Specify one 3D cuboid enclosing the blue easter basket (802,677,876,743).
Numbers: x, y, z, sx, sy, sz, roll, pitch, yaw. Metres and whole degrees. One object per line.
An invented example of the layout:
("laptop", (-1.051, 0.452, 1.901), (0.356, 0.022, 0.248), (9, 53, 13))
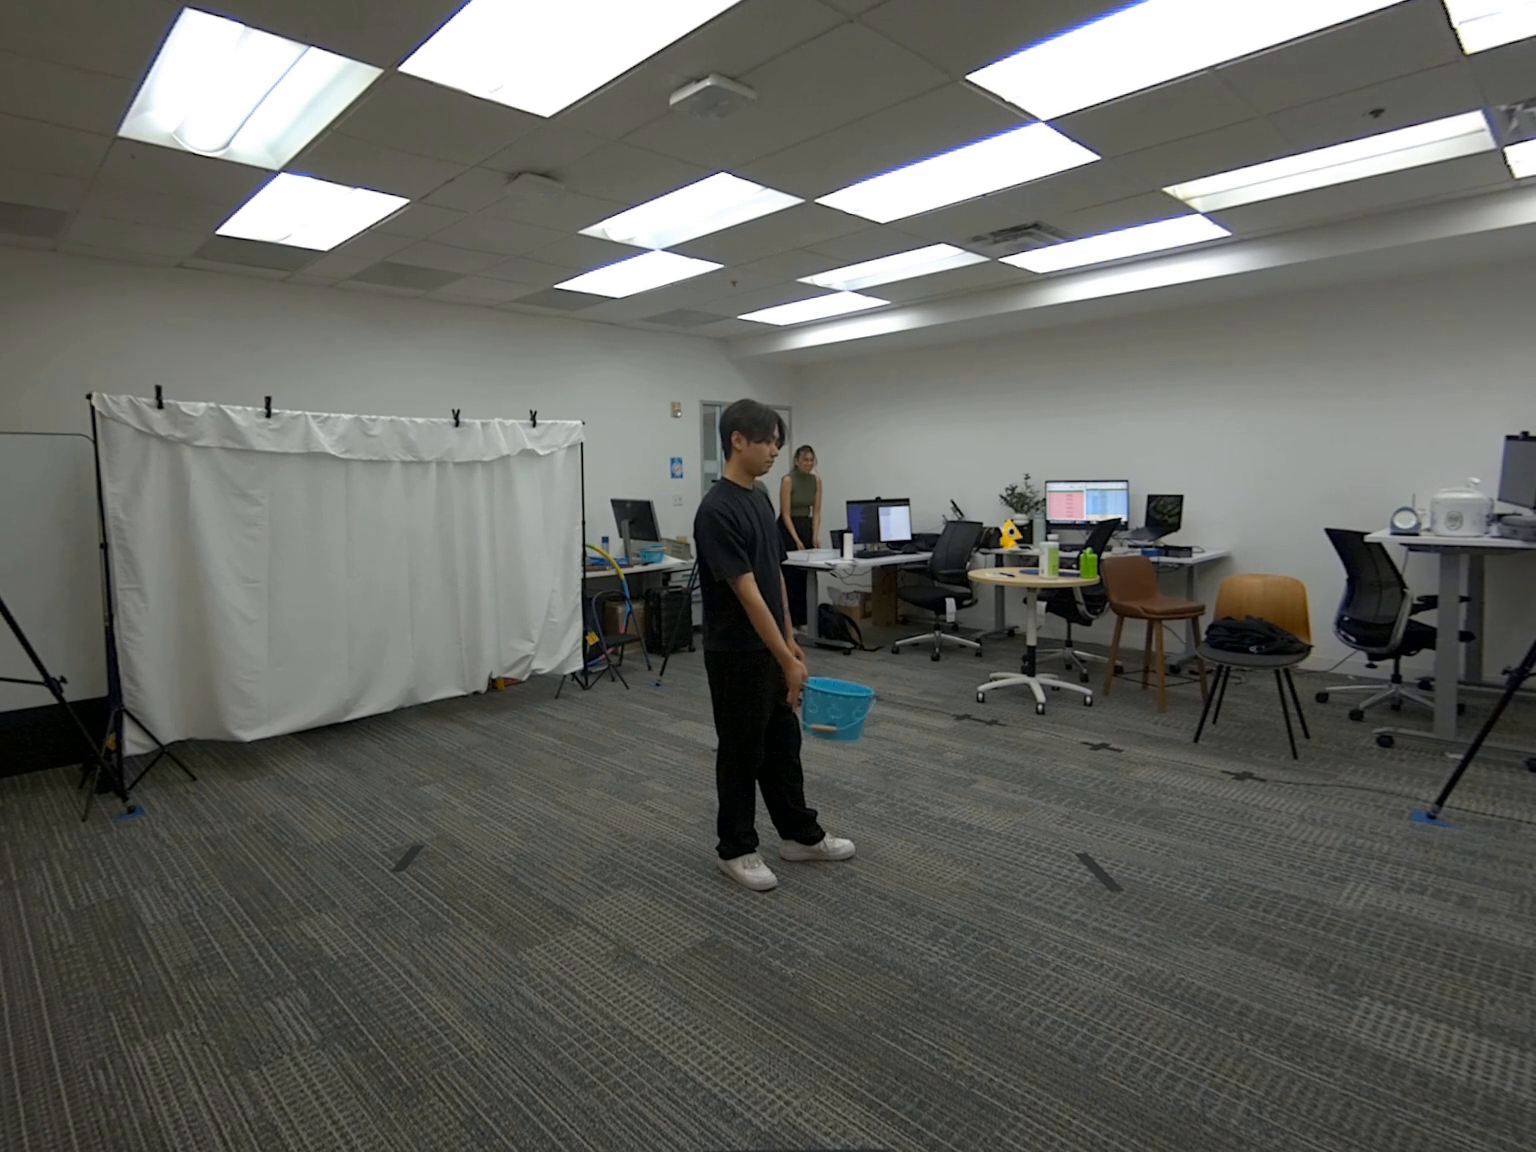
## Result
("blue easter basket", (0.197, 0.416, 2.666), (0.243, 0.156, 0.244), (7, 2, -2))
